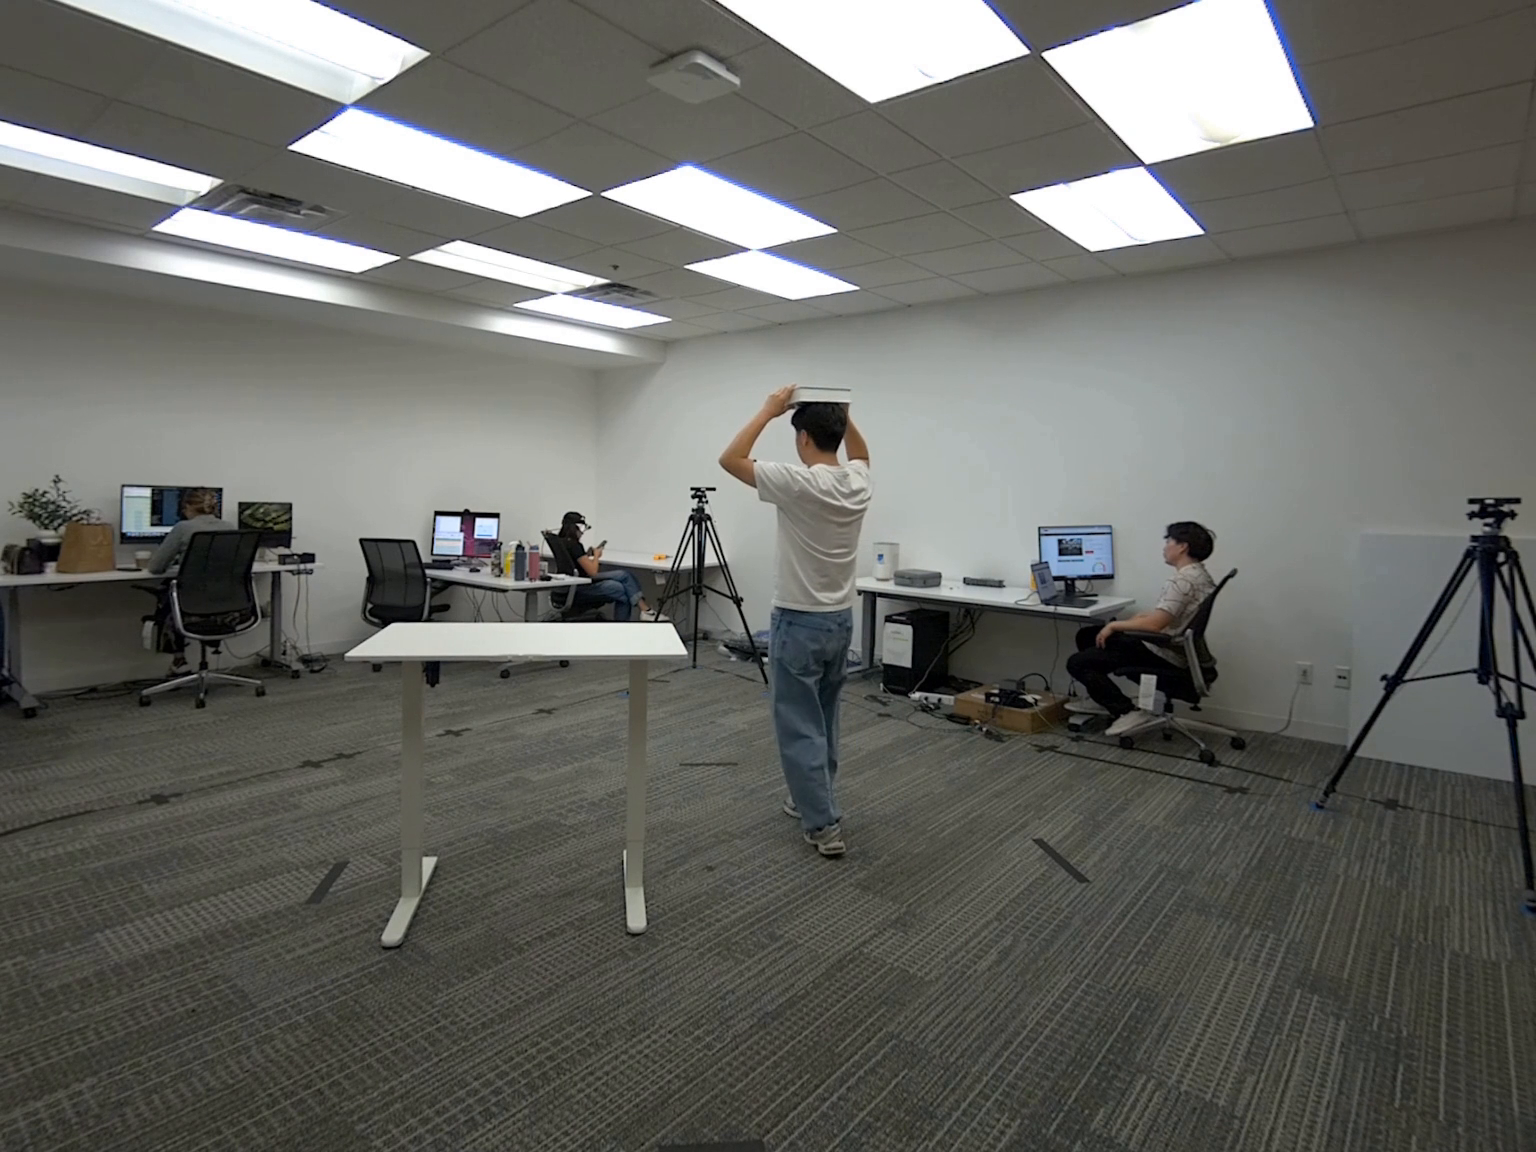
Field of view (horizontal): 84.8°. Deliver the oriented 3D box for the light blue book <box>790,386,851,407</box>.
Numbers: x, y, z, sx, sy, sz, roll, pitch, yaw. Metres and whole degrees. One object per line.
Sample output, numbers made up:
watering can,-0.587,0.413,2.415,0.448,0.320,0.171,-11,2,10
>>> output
light blue book,0.177,-0.714,3.408,0.254,0.059,0.196,-4,2,-30
